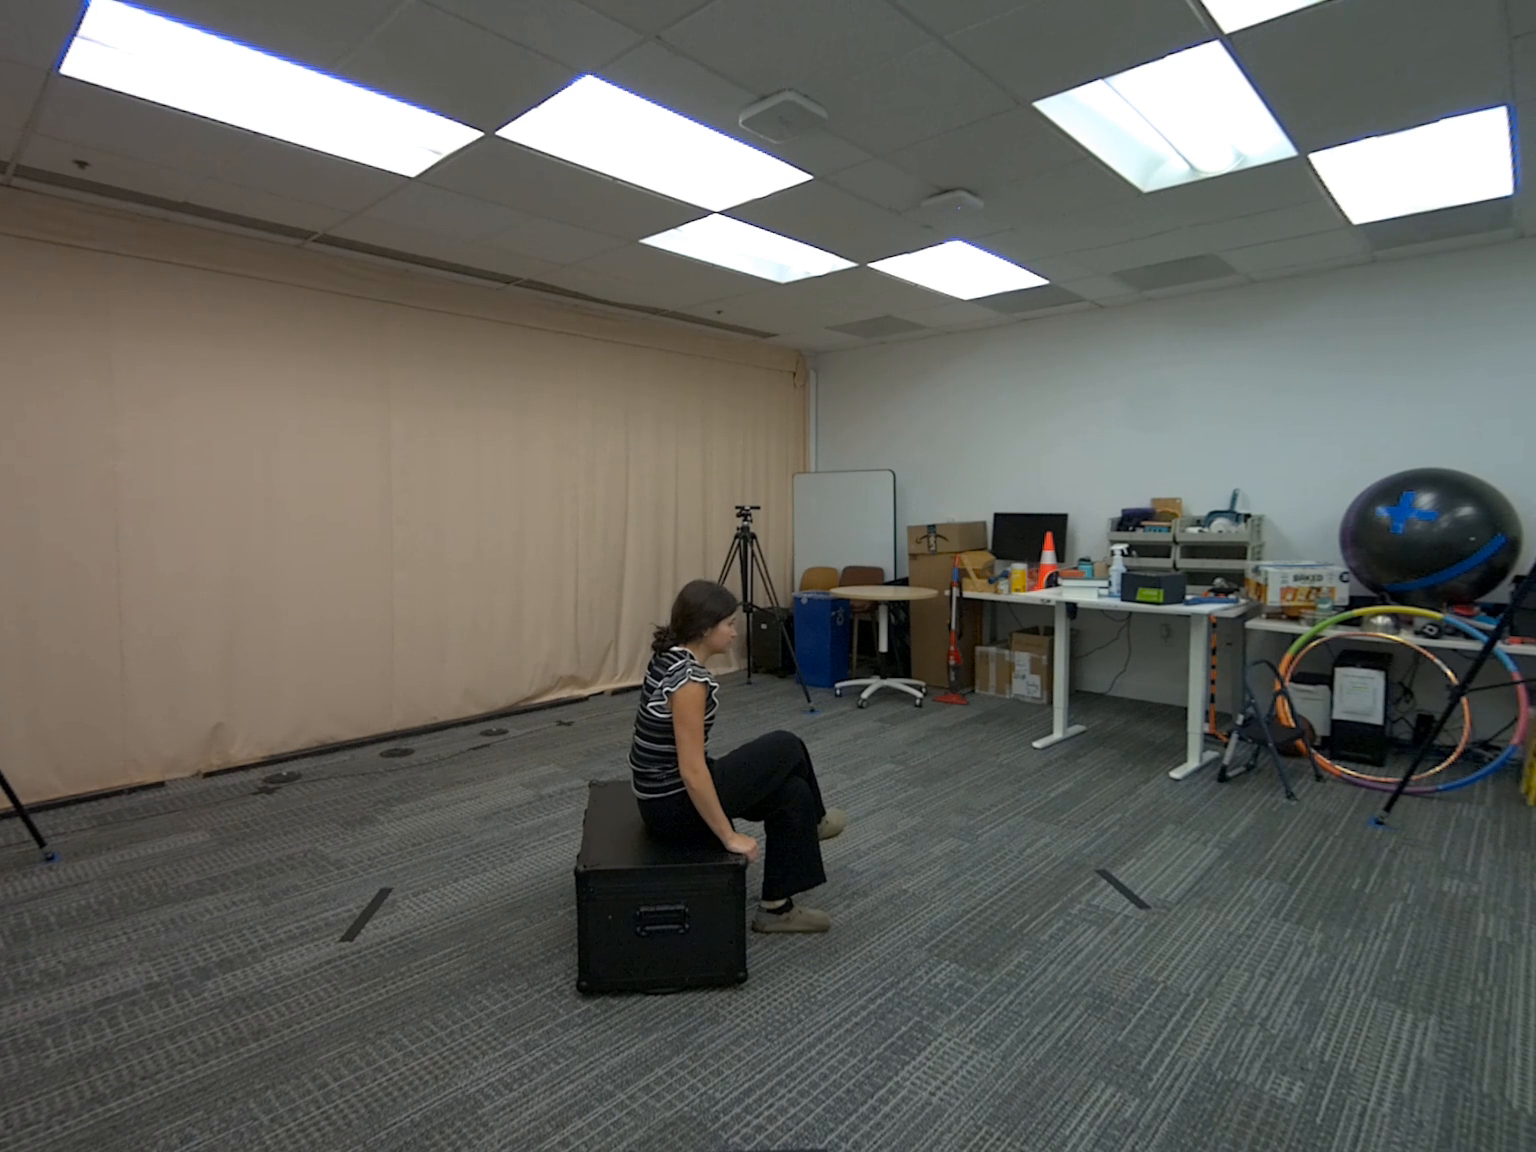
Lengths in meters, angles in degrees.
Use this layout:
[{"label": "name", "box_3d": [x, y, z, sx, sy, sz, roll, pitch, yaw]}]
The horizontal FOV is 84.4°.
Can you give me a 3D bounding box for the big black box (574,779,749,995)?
[{"label": "big black box", "box_3d": [-0.359, 0.969, 2.804, 0.517, 0.395, 0.871, 0, 5, -9]}]
